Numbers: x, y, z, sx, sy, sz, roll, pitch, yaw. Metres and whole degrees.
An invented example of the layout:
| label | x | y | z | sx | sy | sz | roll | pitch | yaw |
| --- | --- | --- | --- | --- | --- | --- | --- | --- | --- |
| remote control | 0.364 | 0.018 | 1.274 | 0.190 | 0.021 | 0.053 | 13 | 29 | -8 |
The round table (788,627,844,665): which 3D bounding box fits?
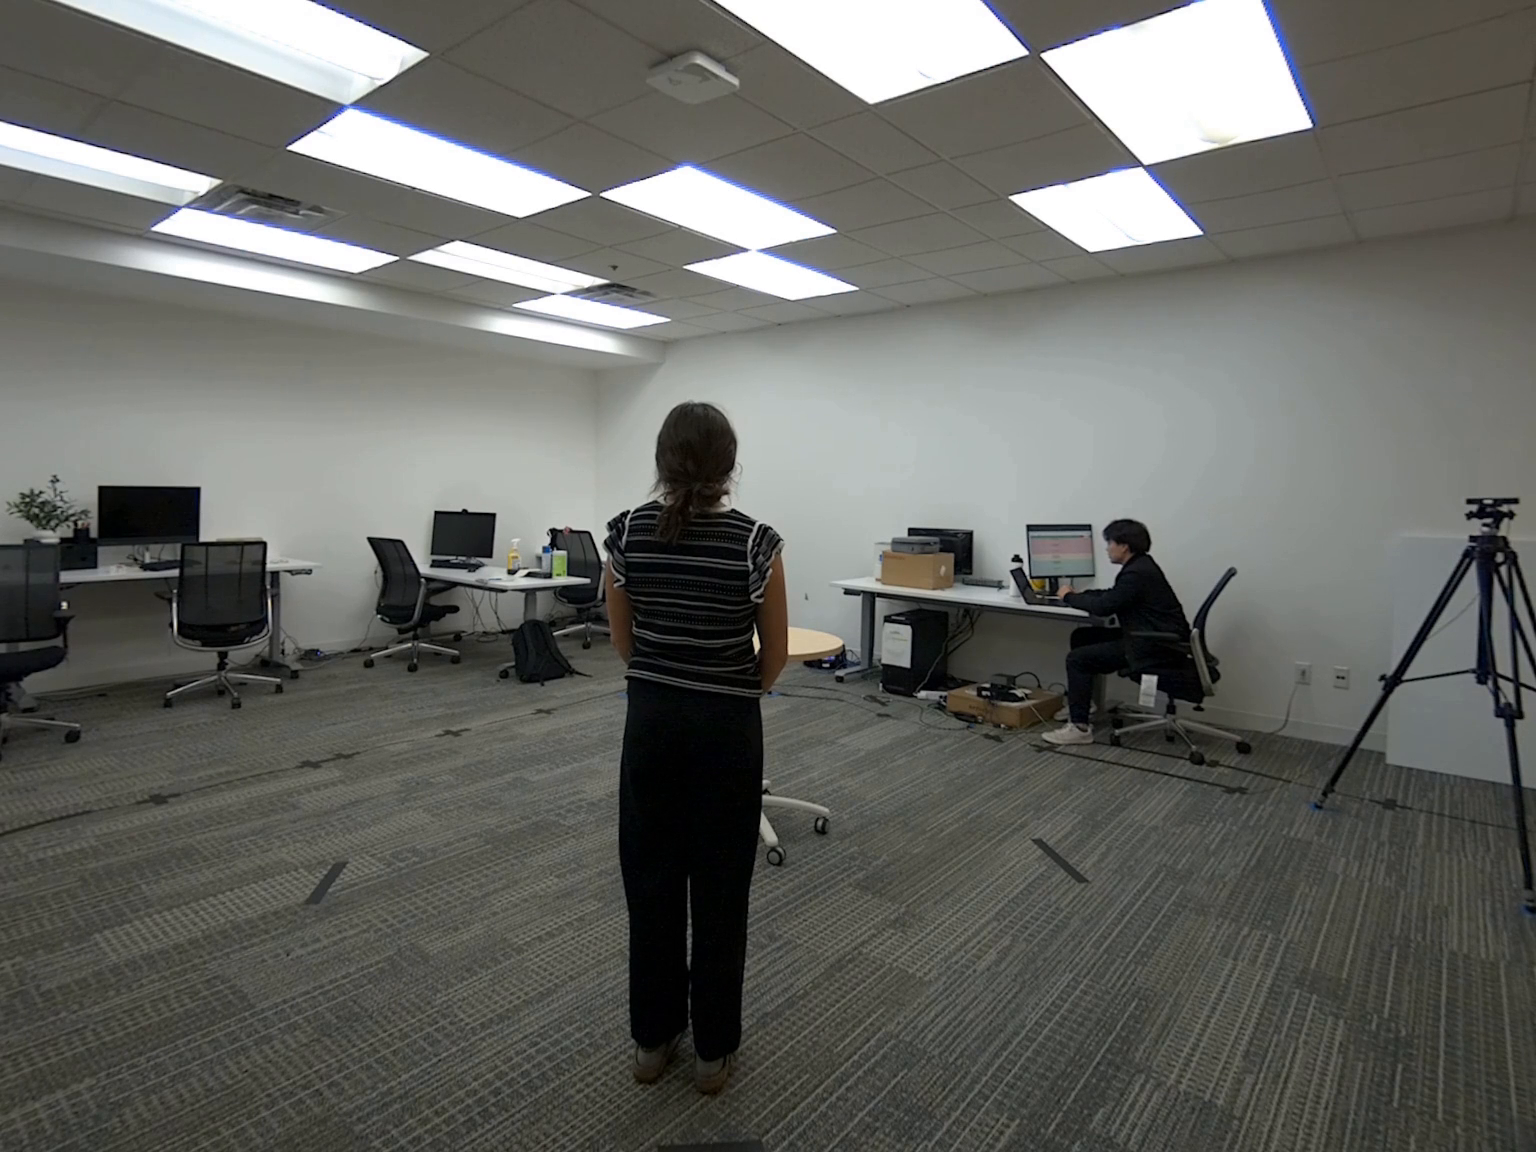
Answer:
| label | x | y | z | sx | sy | sz | roll | pitch | yaw |
| --- | --- | --- | --- | --- | --- | --- | --- | --- | --- |
| round table | -0.097 | 0.641 | 3.463 | 0.763 | 0.792 | 0.767 | 1 | 4 | -2 |
